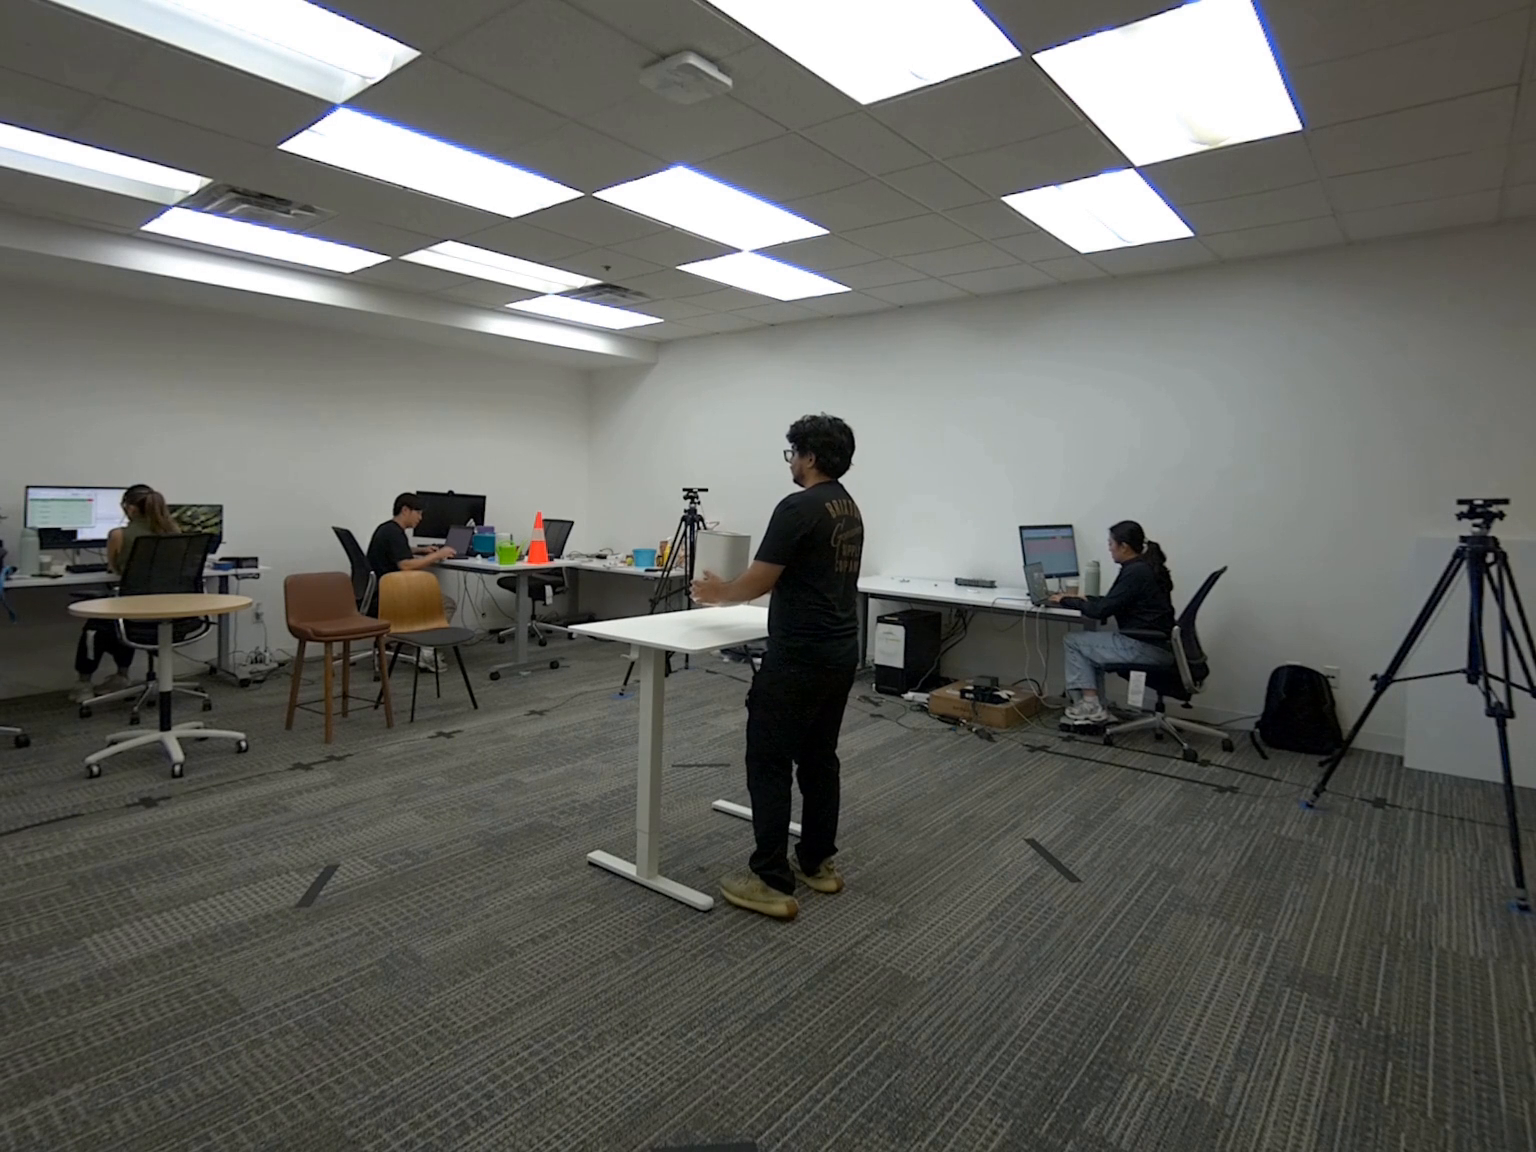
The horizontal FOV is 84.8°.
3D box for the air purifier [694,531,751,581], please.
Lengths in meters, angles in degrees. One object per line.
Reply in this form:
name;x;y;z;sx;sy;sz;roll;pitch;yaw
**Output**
air purifier;-0.187;-0.033;3.133;0.176;0.265;0.167;8;4;31
